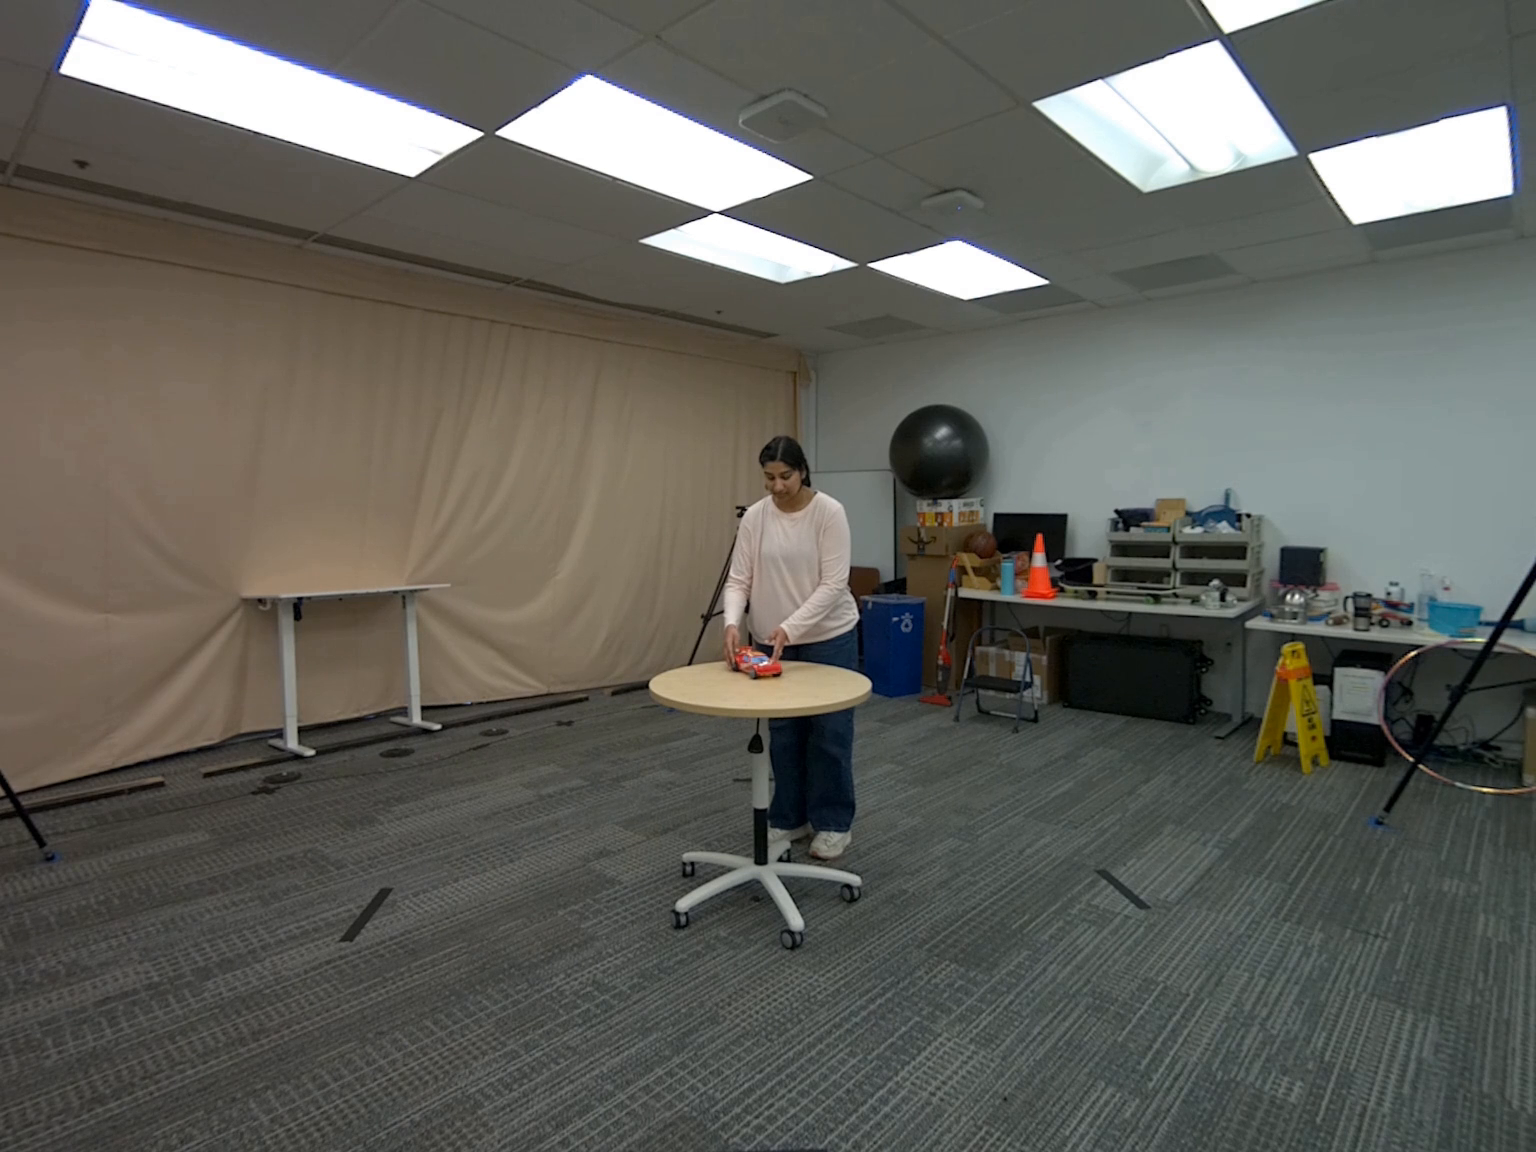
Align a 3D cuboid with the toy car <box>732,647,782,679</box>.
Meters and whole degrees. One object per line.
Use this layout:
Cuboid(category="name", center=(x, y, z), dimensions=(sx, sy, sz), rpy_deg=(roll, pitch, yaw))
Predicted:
Cuboid(category="toy car", center=(-0.053, 0.319, 3.065), dimensions=(0.128, 0.082, 0.262), rpy_deg=(-4, 16, -22))
